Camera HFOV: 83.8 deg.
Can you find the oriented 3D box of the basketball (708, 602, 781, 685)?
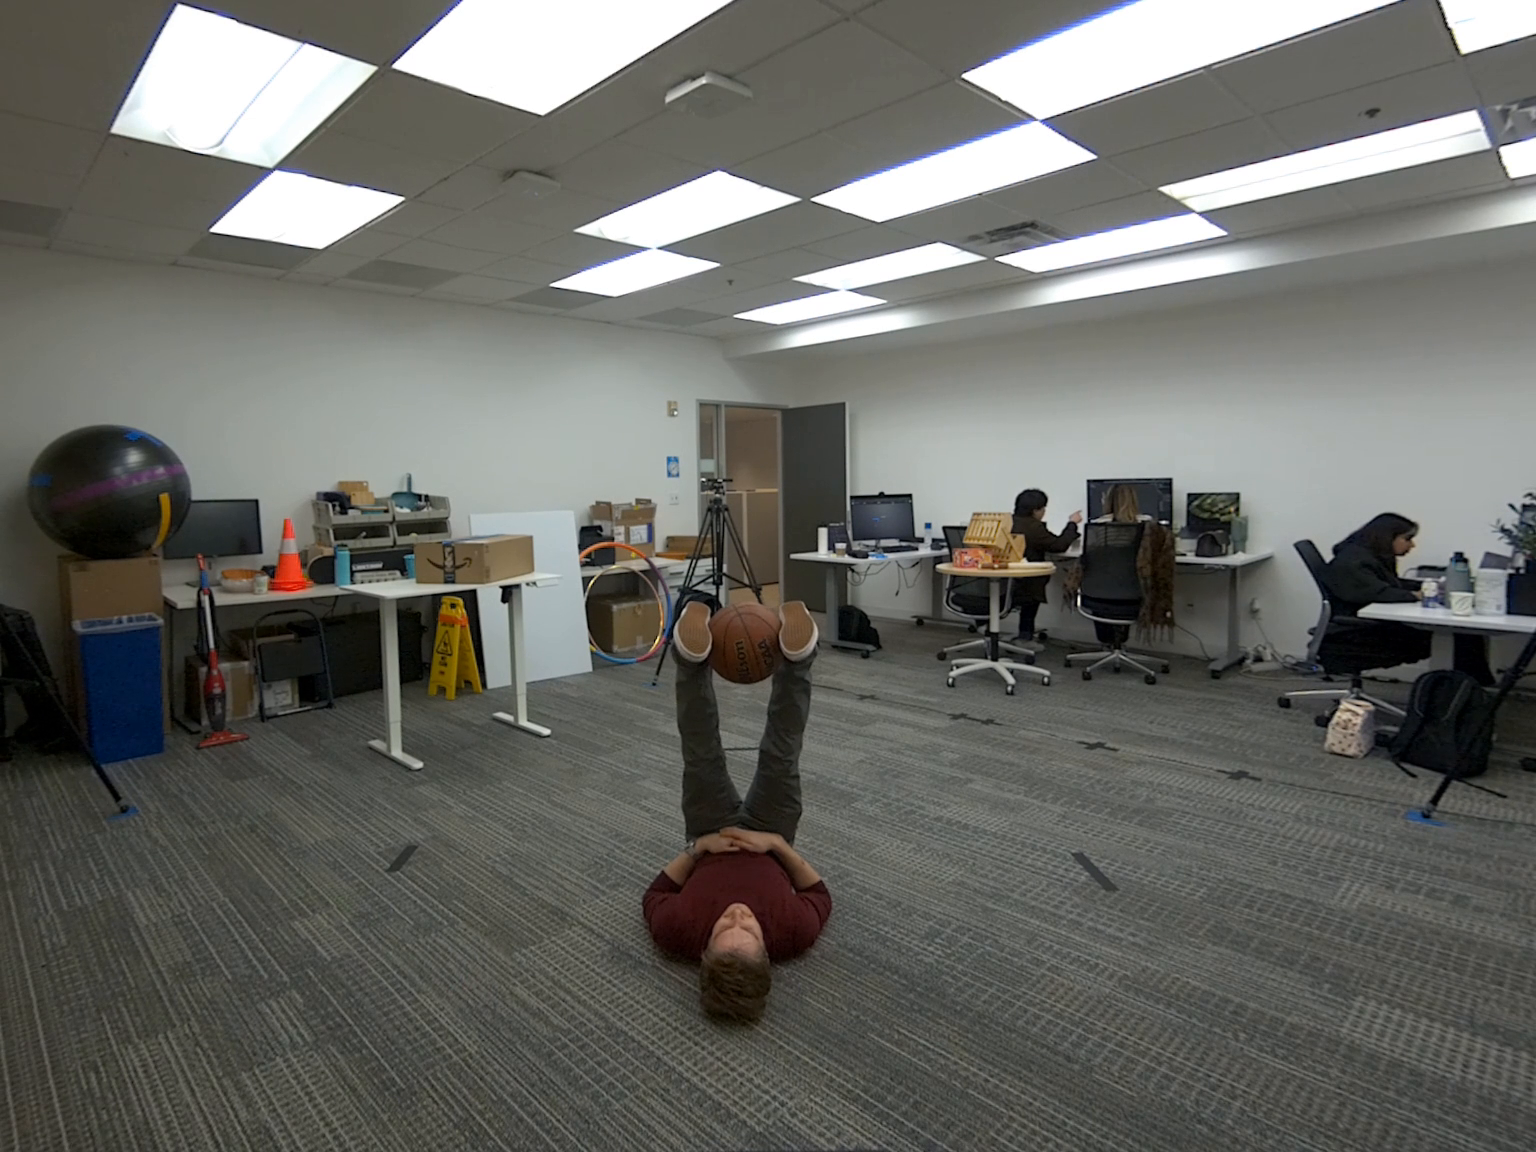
[{"bbox_3d":[-0.064,0.186,2.476,0.236,0.236,0.236,0,1,-2],"label":"basketball"}]
